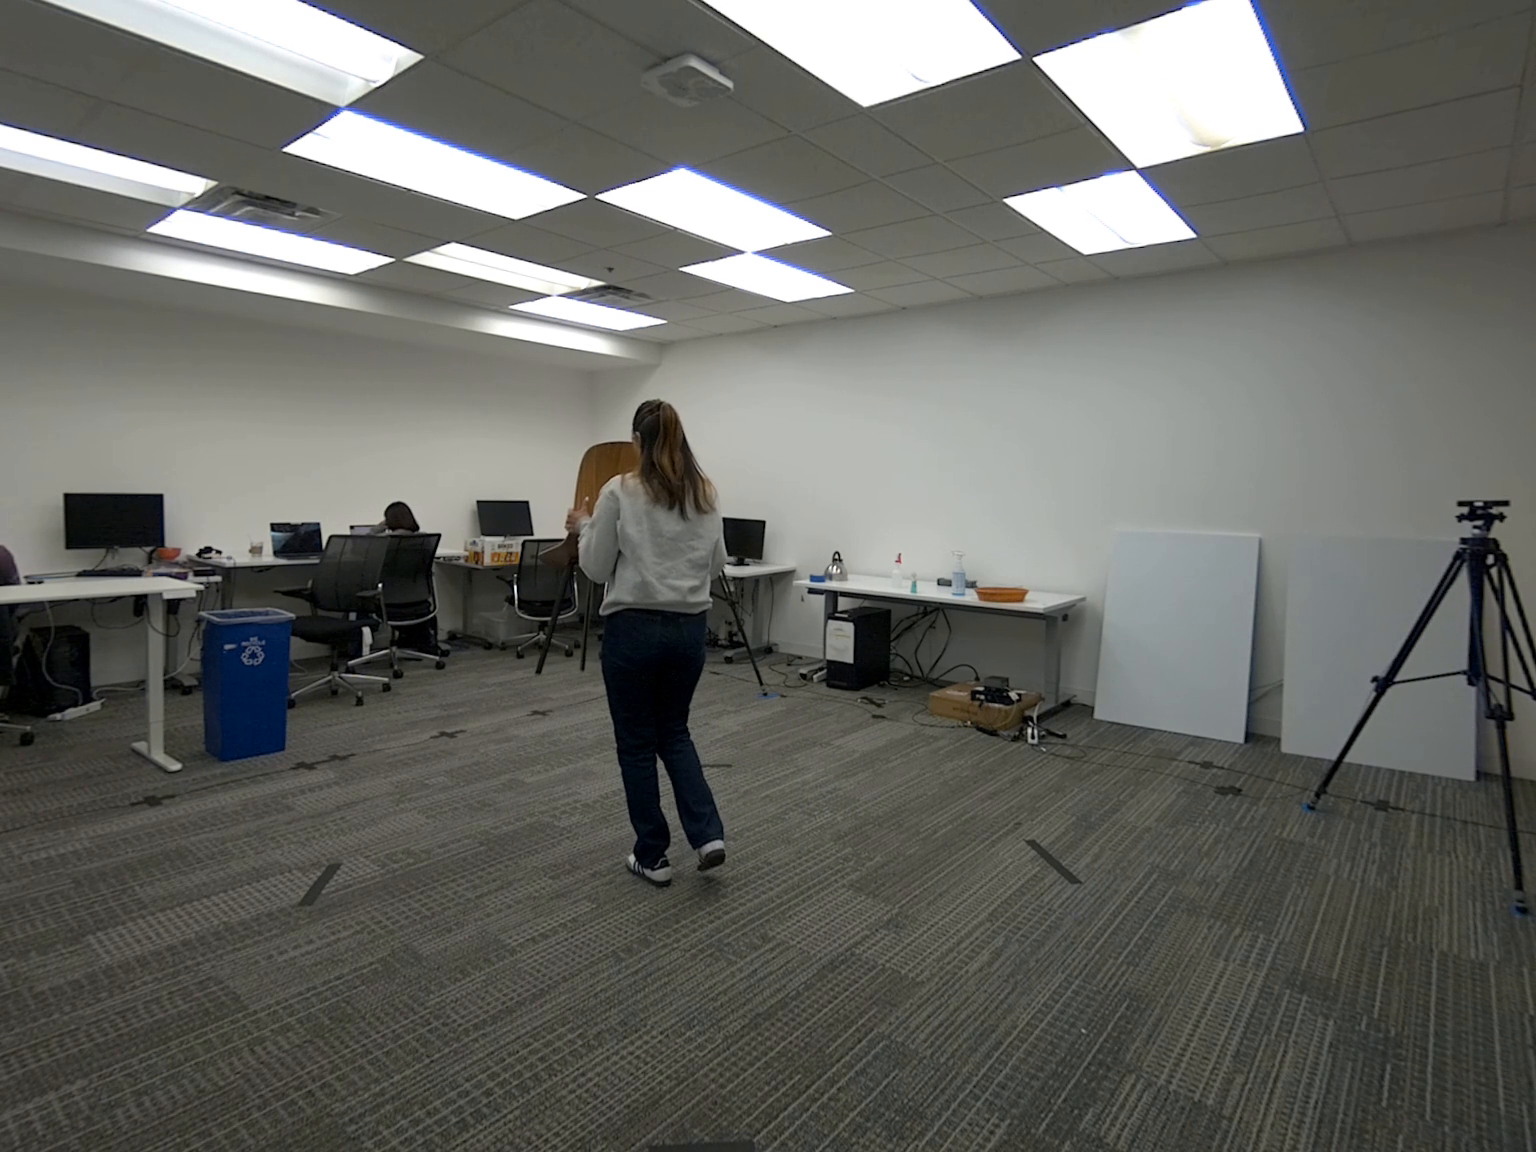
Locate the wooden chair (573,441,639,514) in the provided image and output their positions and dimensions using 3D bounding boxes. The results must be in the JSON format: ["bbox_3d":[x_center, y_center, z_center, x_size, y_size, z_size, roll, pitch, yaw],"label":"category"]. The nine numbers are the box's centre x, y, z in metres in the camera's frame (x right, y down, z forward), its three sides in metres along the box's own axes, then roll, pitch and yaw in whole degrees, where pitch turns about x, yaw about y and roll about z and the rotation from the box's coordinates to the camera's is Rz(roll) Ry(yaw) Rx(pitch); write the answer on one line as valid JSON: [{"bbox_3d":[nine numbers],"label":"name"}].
[{"bbox_3d":[-0.651,-0.051,3.361,0.463,0.882,0.536,3,-6,-34],"label":"wooden chair"}]
